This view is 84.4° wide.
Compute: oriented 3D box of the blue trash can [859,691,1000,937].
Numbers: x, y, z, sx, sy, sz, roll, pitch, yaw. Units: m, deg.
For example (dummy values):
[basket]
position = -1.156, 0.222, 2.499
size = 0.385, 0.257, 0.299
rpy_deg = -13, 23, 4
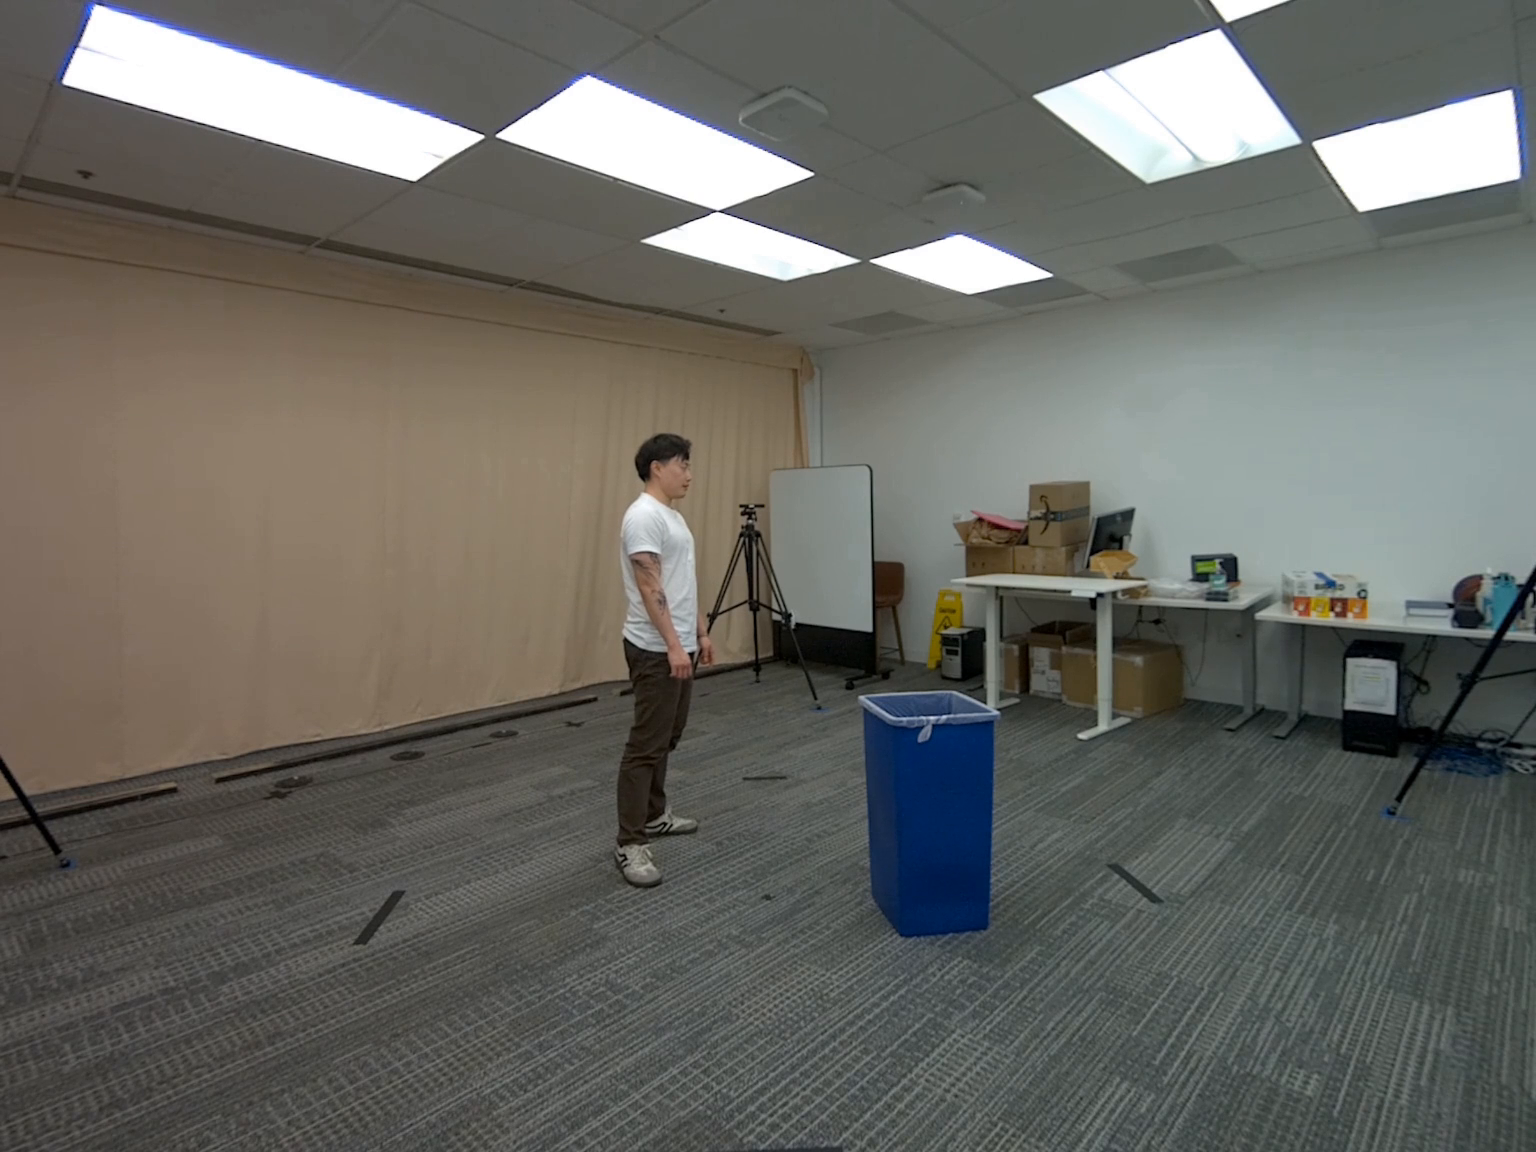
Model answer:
[blue trash can]
position = 0.551, 0.786, 2.840
size = 0.370, 0.712, 0.383
rpy_deg = -1, 3, -11
